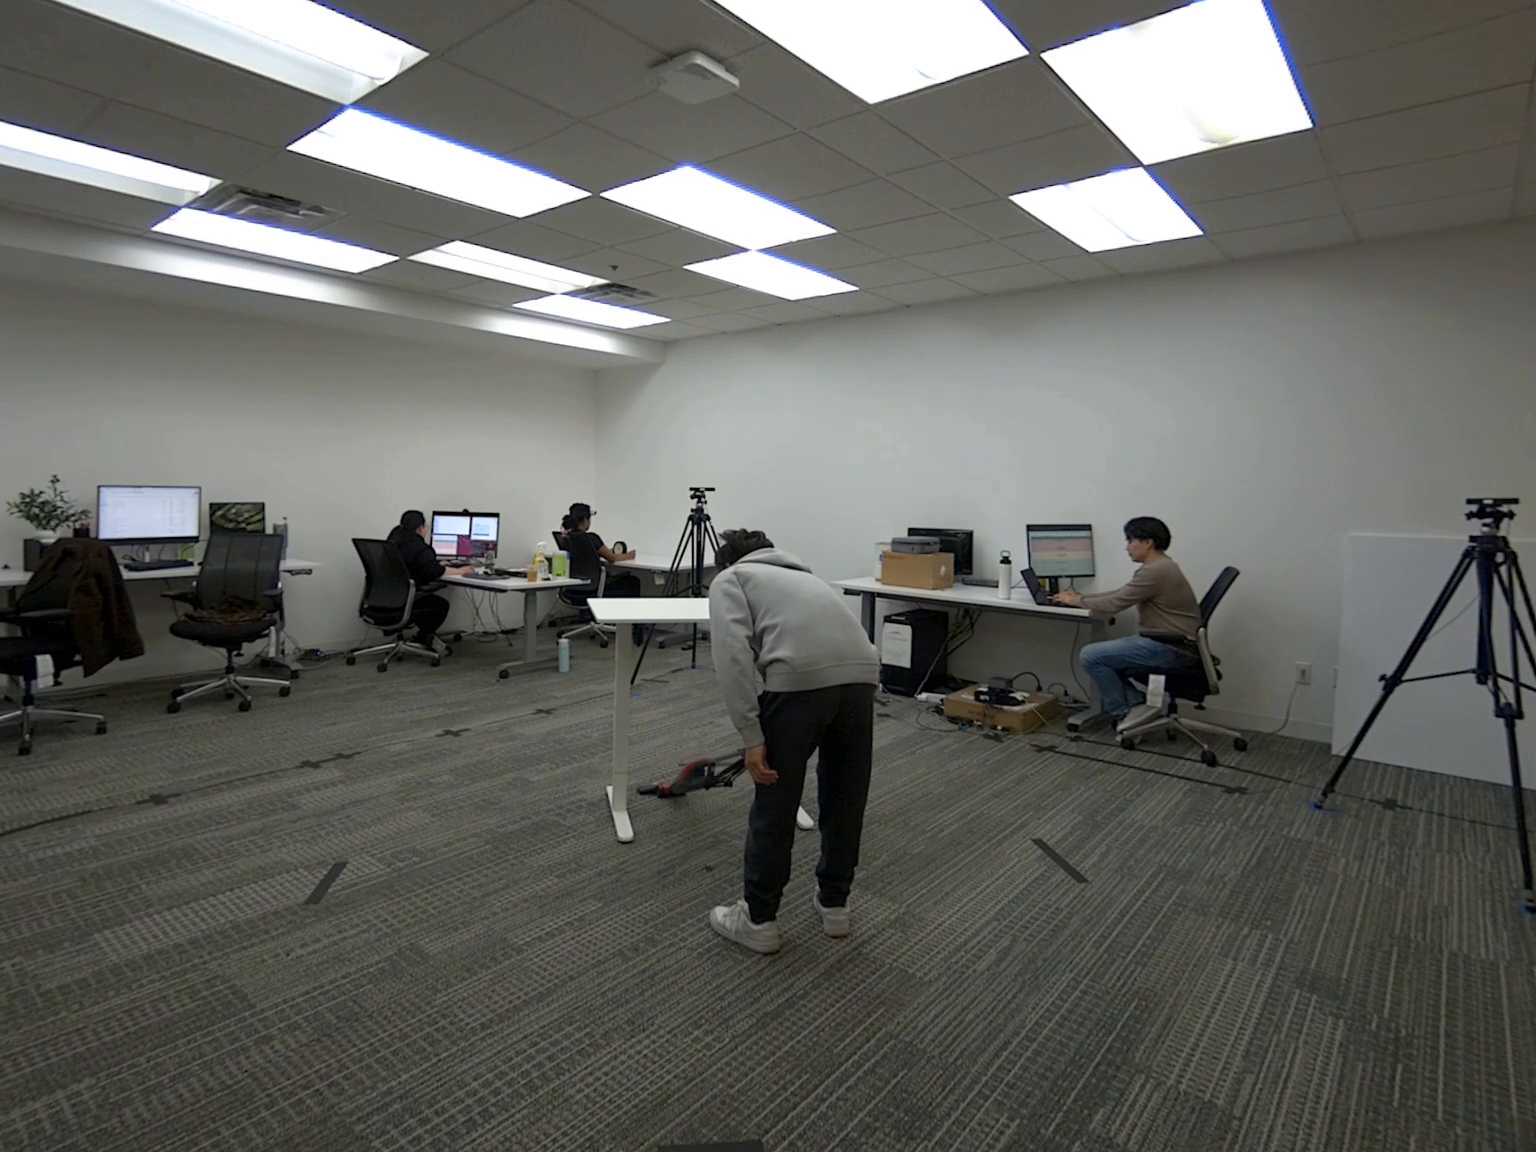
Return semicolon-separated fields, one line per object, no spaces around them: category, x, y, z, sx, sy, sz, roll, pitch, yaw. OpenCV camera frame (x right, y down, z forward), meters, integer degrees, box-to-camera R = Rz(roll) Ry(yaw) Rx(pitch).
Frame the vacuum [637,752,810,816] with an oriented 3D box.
vacuum;-0.241;0.800;3.453;0.247;0.146;1.057;-17;-9;-31
